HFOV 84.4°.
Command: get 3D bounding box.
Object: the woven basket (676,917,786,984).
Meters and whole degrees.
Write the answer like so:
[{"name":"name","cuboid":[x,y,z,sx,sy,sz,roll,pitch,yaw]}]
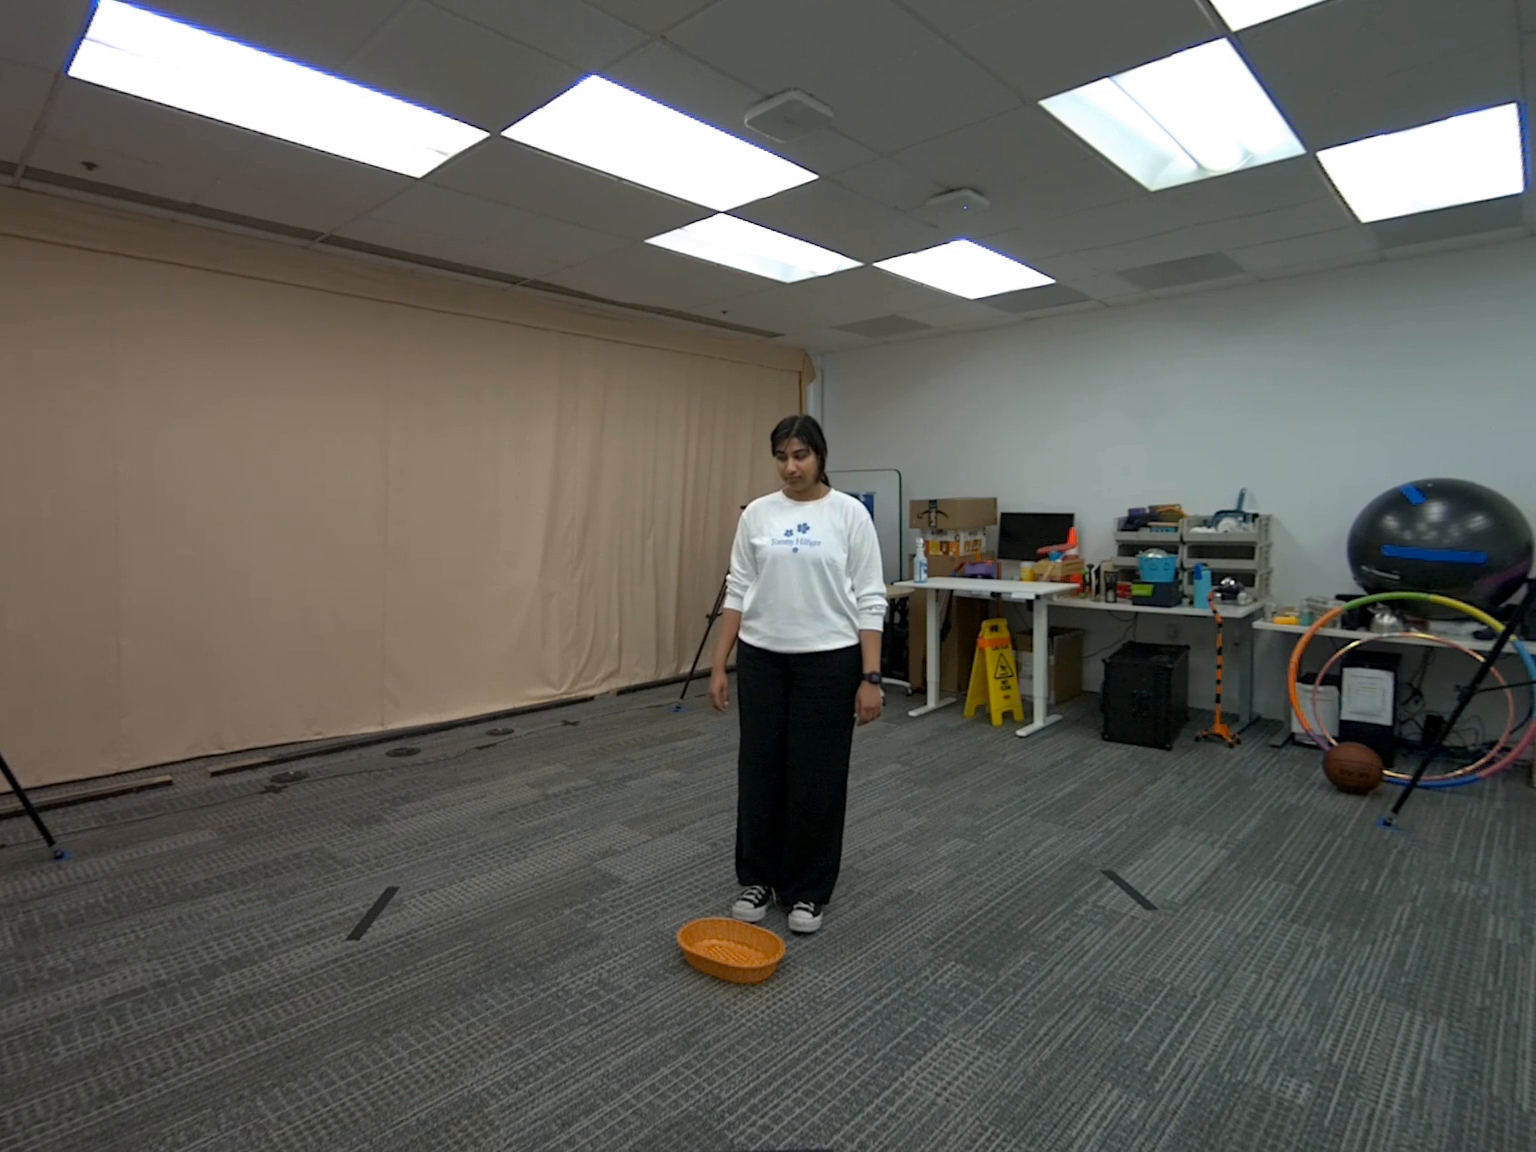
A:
[{"name":"woven basket","cuboid":[-0.107,1.132,2.571,0.361,0.073,0.245,2,4,32]}]
